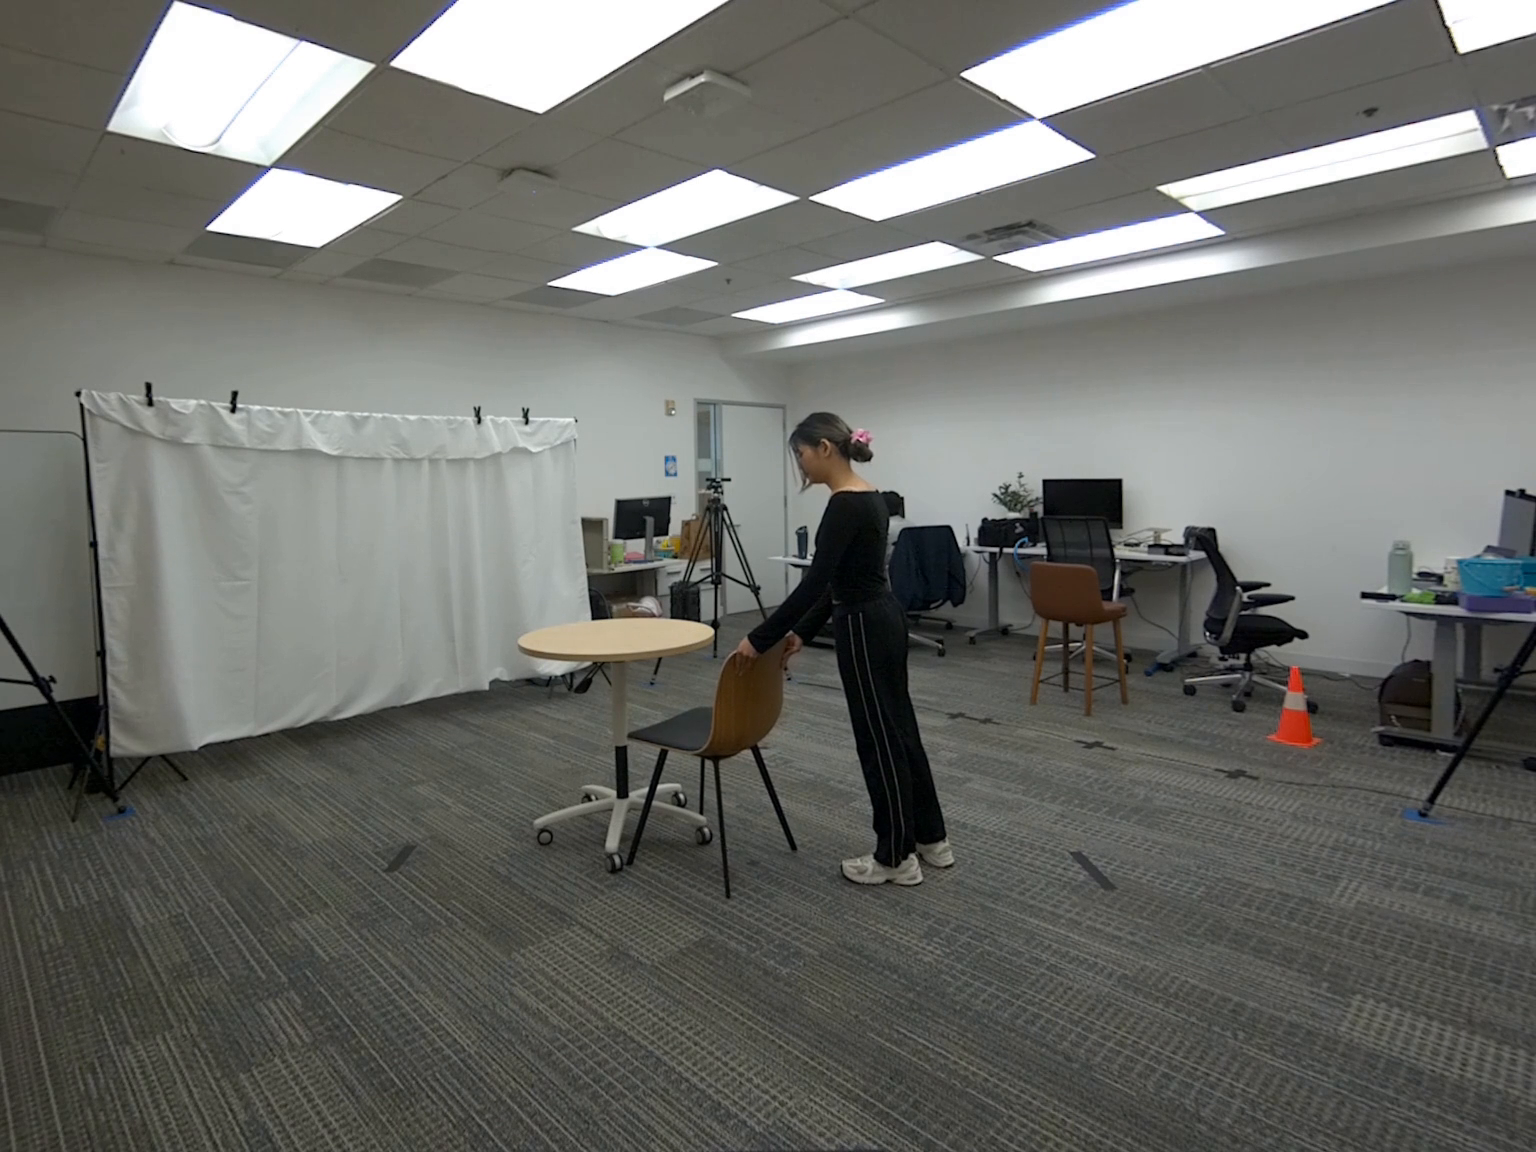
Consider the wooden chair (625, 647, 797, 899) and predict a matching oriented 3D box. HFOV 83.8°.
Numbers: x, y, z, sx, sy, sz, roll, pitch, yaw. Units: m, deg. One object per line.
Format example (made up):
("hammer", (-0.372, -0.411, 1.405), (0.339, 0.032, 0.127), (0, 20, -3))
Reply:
("wooden chair", (-0.209, 0.612, 3.116), (0.539, 0.872, 0.467), (7, 9, 34))
